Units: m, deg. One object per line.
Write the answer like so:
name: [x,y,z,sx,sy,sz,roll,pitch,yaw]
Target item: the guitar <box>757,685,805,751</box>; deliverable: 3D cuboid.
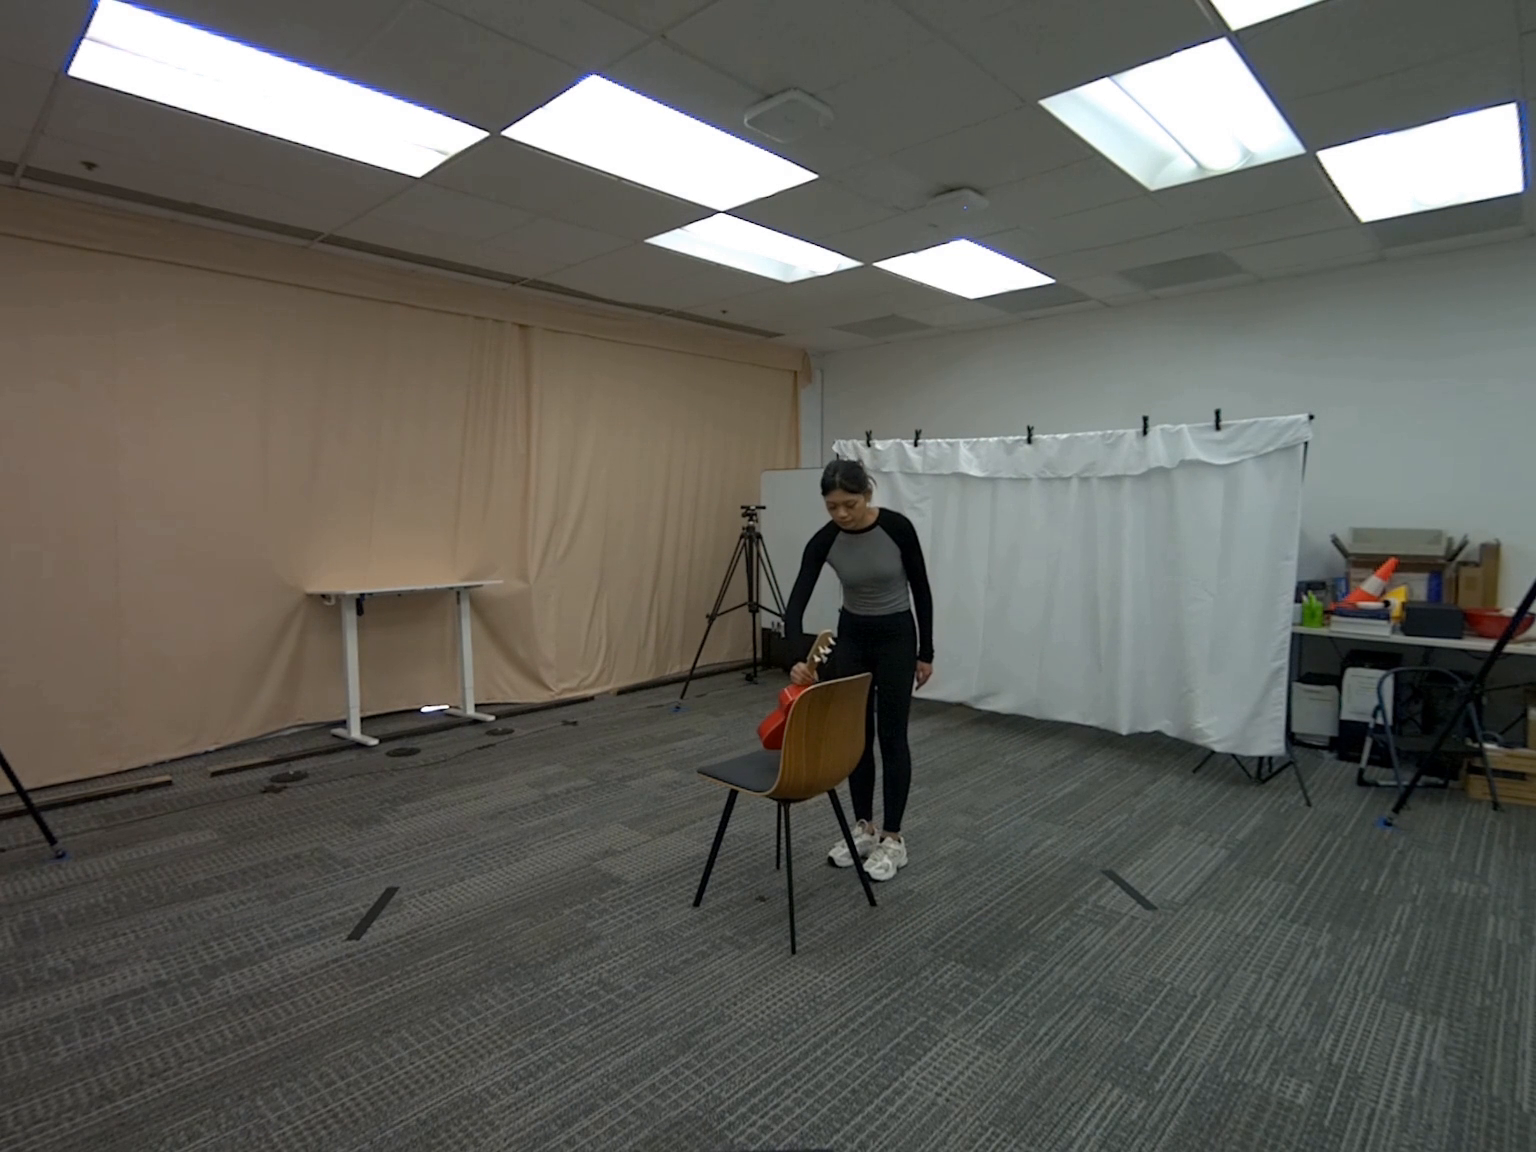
guitar: [0.094,0.396,2.865,0.188,0.493,0.073,-3,35,-25]
